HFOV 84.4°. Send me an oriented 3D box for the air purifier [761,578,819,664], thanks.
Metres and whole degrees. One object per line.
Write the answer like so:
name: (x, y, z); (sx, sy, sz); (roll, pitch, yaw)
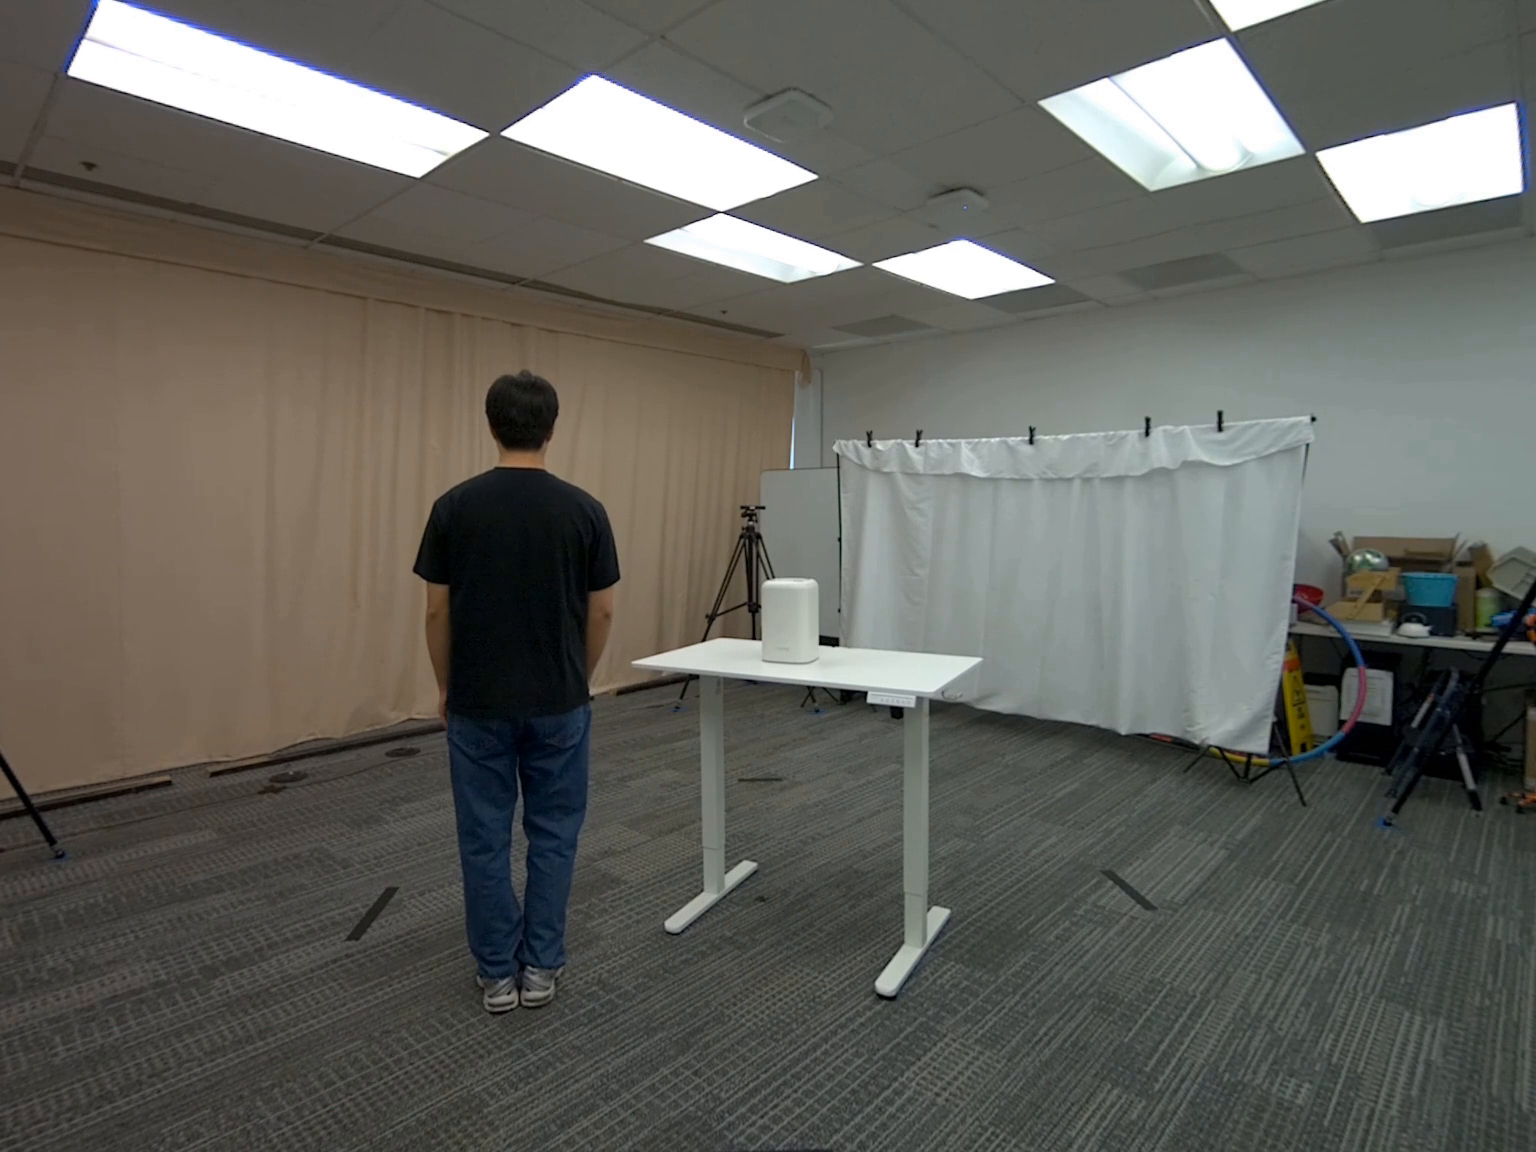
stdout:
air purifier: (0.075, 0.146, 2.785); (0.175, 0.265, 0.168); (1, 3, 23)
